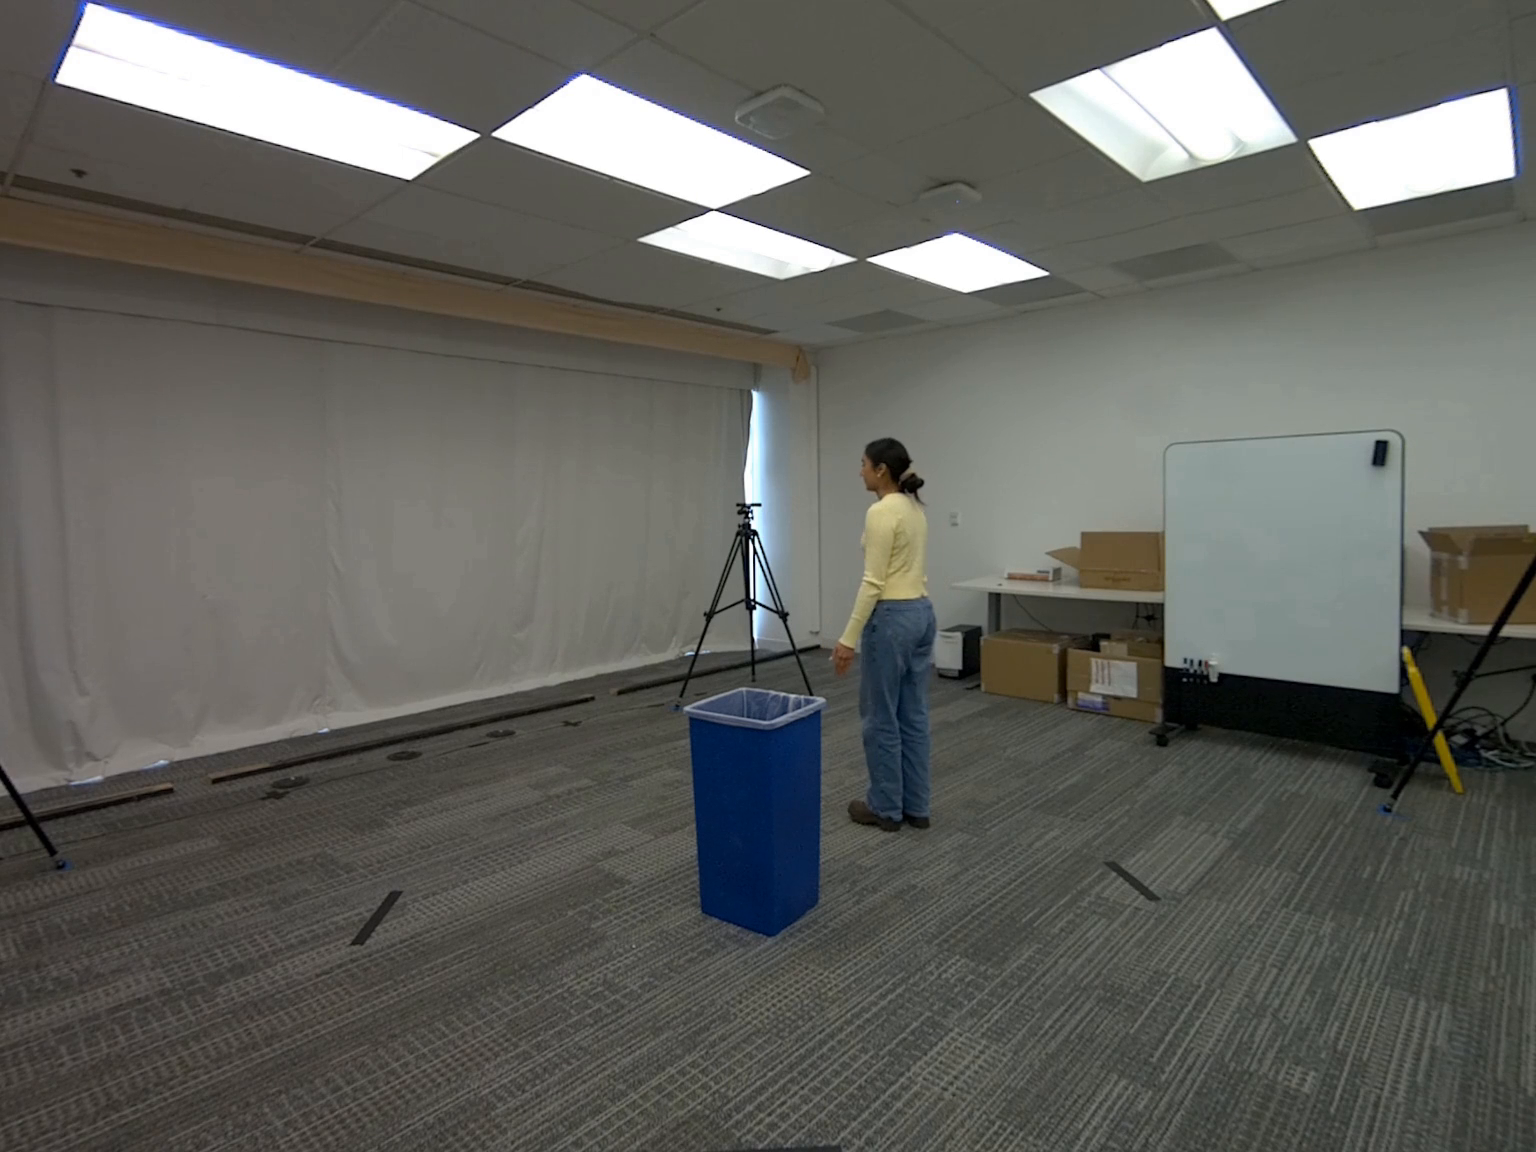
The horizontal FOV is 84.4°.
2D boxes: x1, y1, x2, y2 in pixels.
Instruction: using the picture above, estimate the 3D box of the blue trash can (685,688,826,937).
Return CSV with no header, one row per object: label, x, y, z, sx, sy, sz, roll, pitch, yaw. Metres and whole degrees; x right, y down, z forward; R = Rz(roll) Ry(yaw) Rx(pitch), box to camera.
blue trash can,-0.030,0.788,2.875,0.390,0.712,0.363,1,4,35
